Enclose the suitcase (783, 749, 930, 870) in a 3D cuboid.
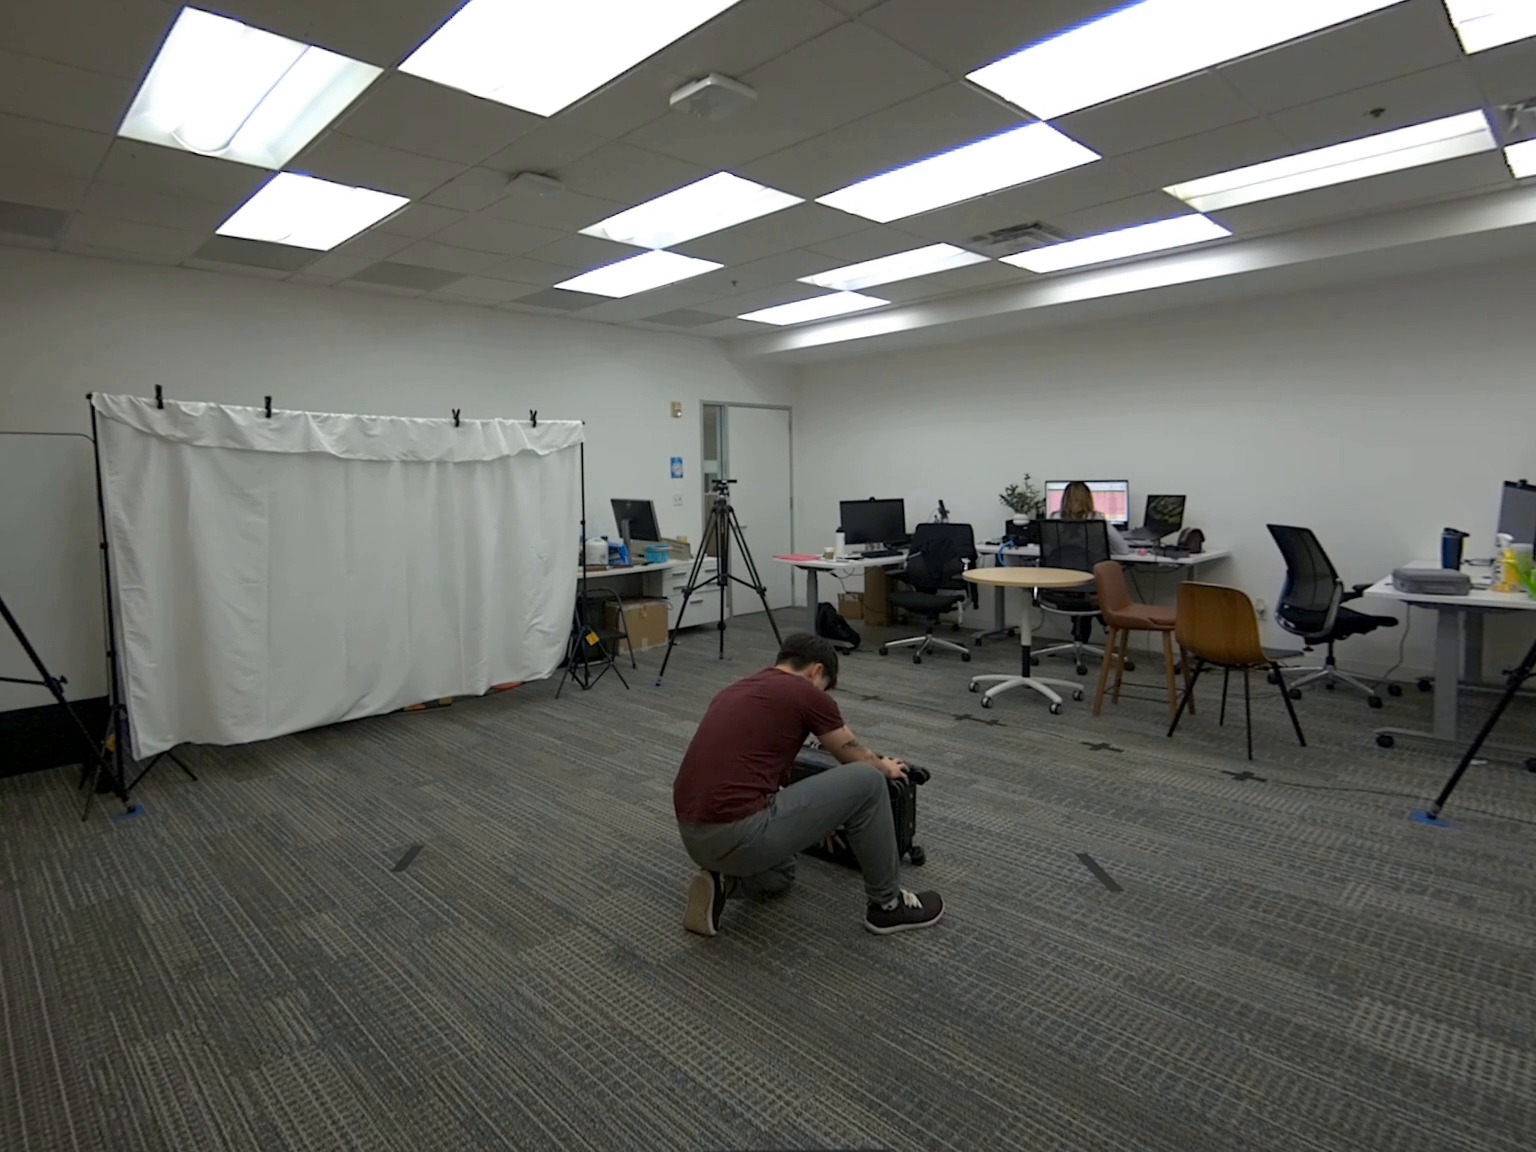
[{"bbox_3d":[0.132,0.836,3.321,1.008,0.384,0.249,3,1,39],"label":"suitcase"}]
